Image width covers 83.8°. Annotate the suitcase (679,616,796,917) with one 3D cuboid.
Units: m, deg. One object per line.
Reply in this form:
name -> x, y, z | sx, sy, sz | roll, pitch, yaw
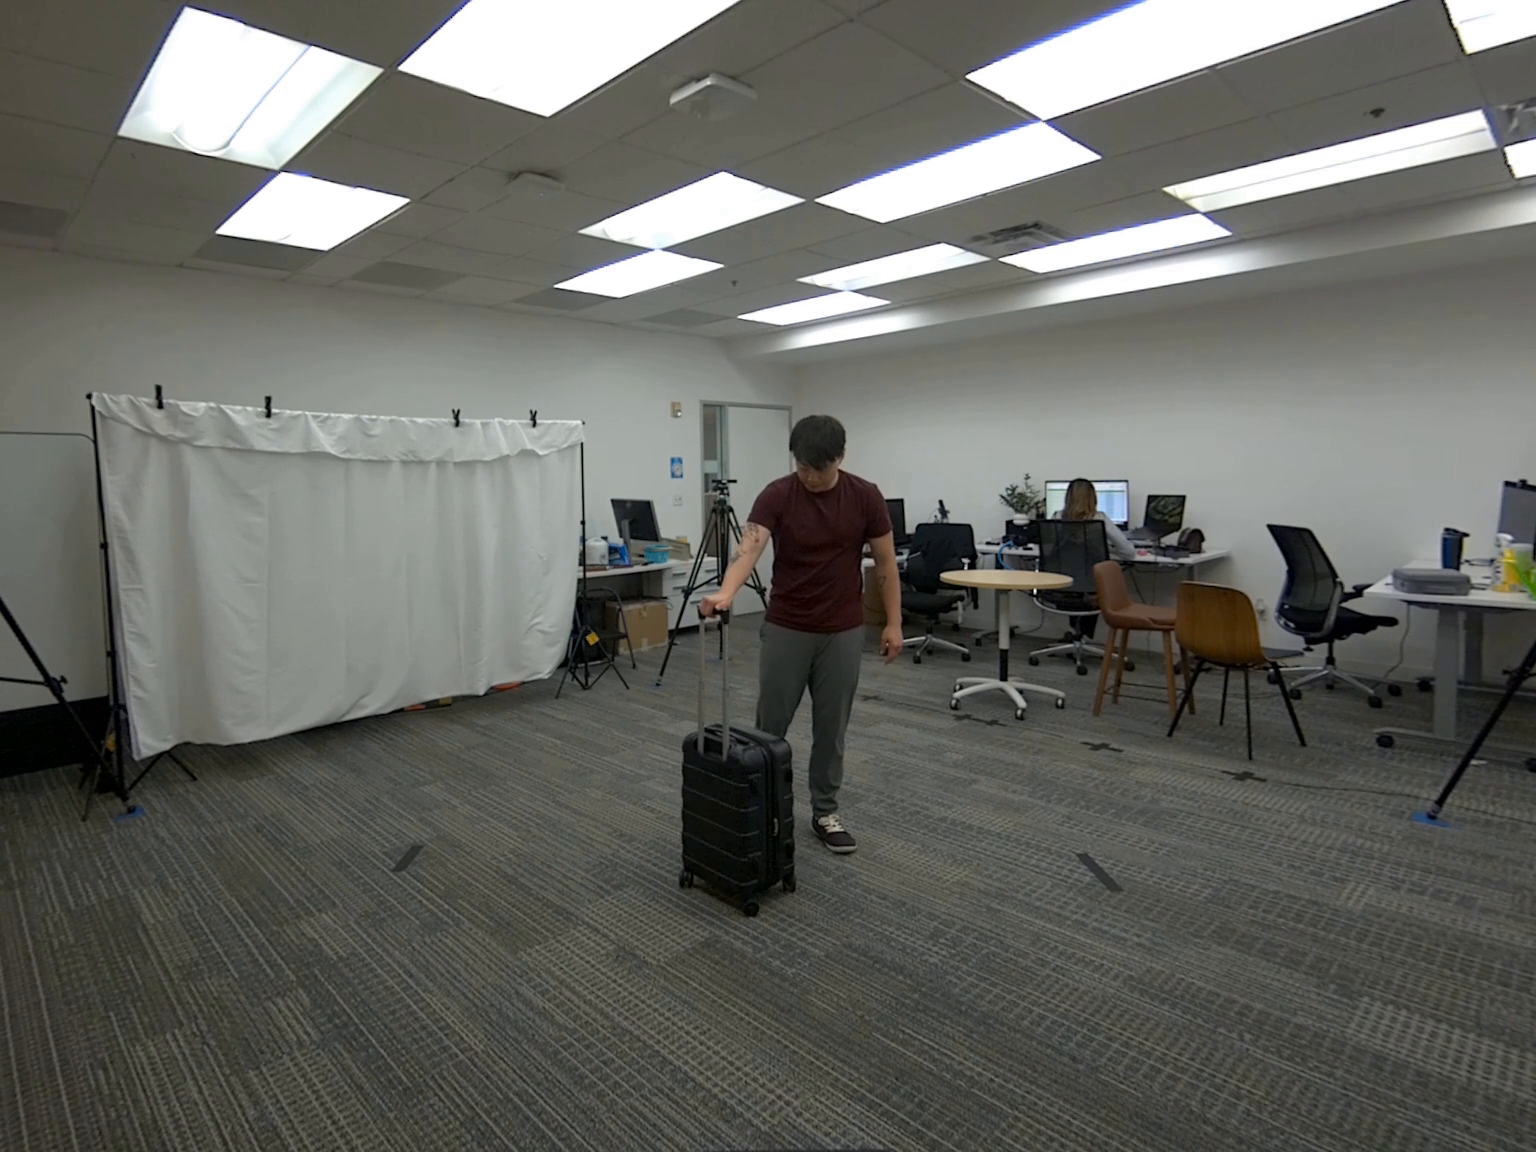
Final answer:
suitcase -> -0.105, 0.592, 2.911 | 0.250, 0.978, 0.395 | 0, 2, -40
